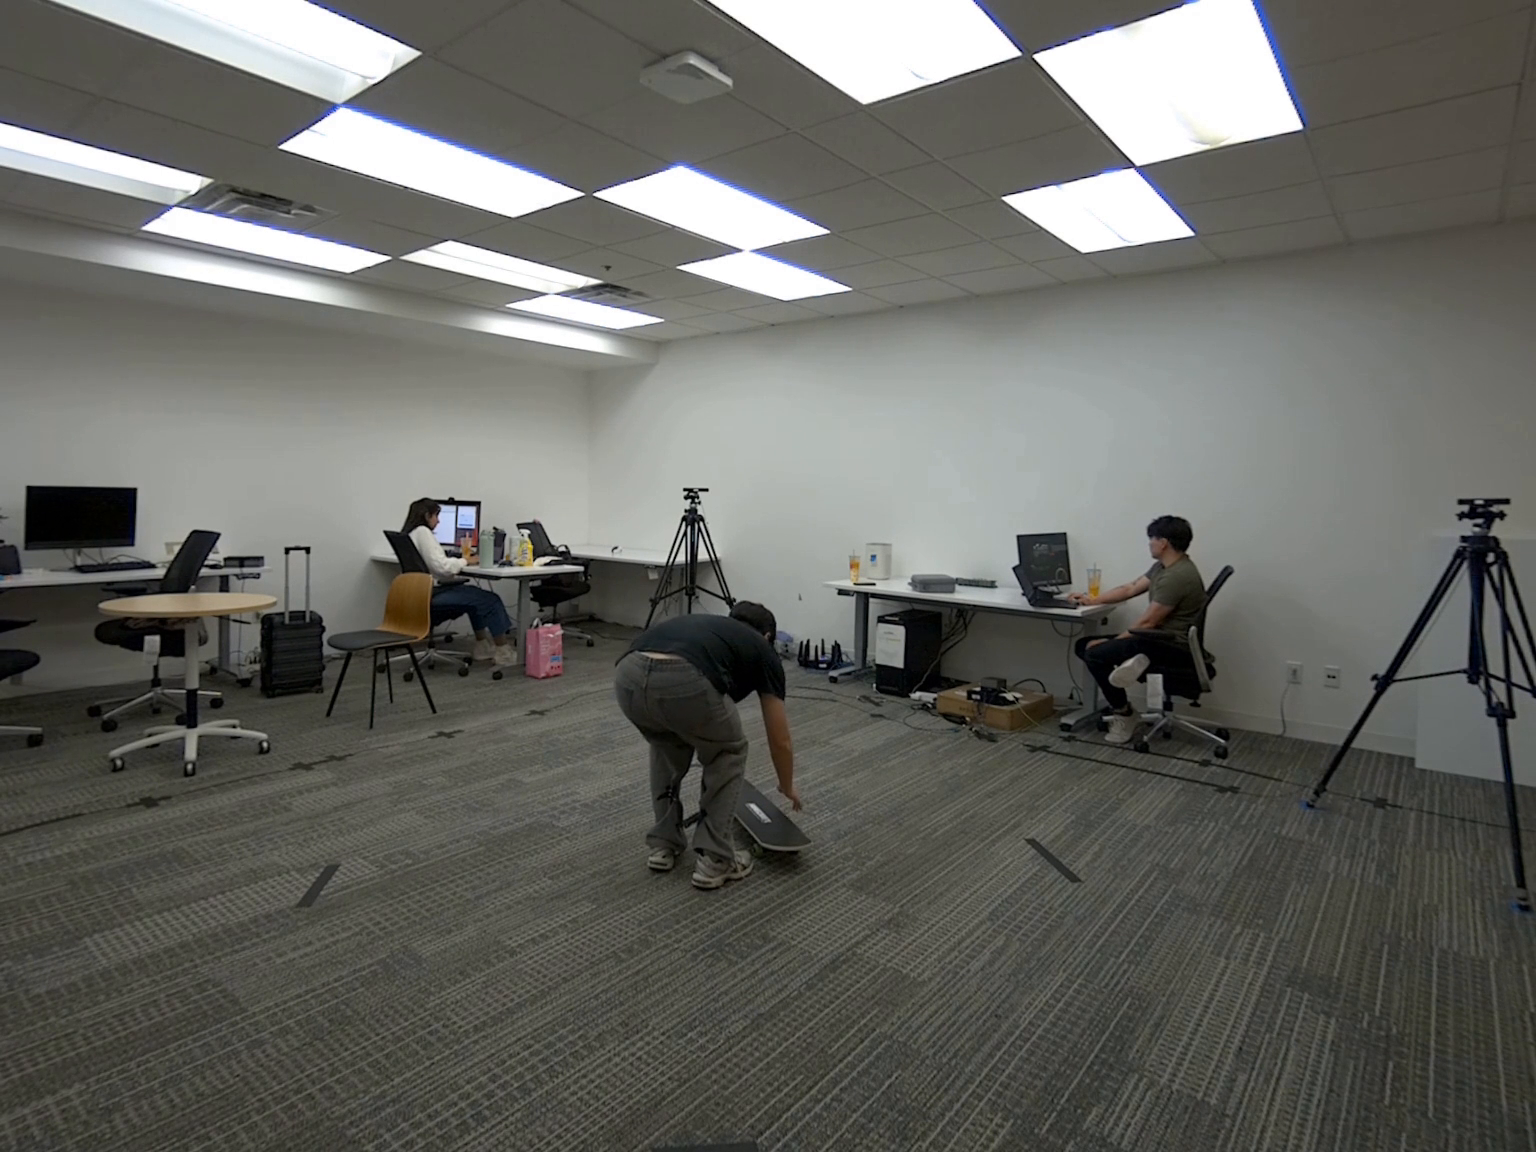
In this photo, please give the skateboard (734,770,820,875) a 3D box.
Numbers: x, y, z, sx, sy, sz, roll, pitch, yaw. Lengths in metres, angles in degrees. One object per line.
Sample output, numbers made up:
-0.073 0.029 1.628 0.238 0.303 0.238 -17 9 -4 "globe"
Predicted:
-0.050 0.977 3.426 0.189 0.110 0.804 0 6 -21 "skateboard"
